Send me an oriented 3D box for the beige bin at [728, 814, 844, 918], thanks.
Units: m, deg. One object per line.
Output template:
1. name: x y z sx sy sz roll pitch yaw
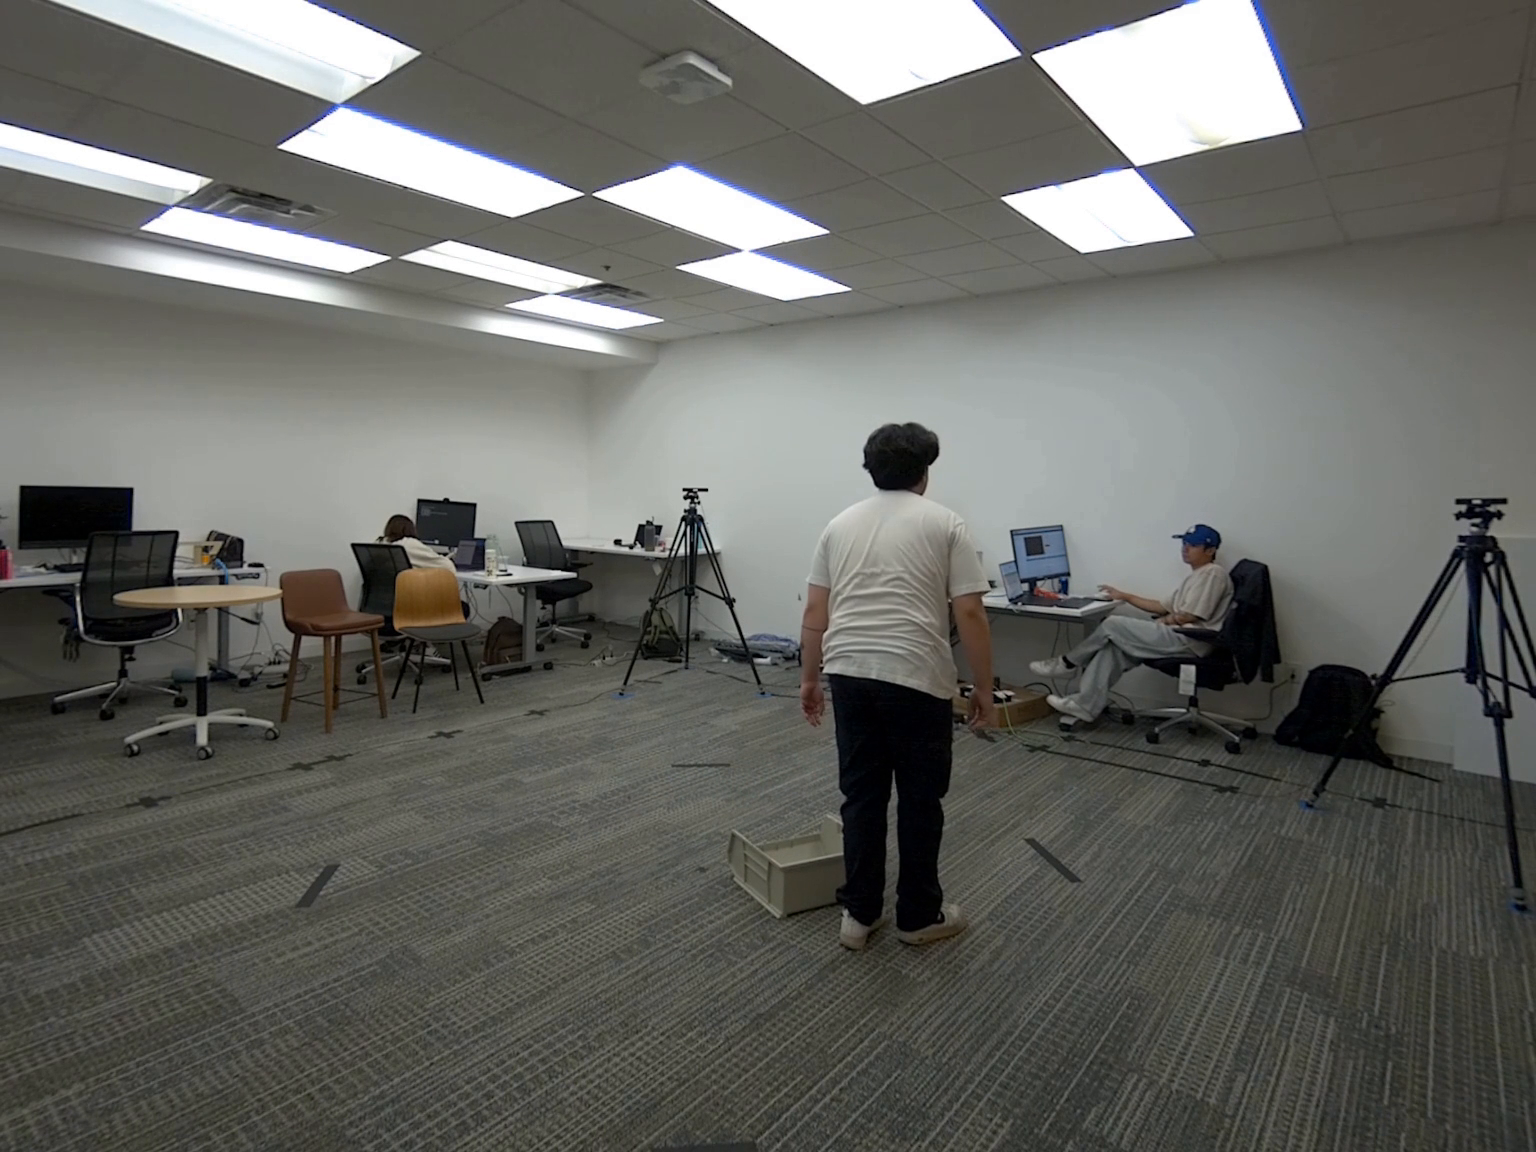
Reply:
1. beige bin: 0.117 0.999 2.997 0.411 0.188 0.389 0 6 -29
